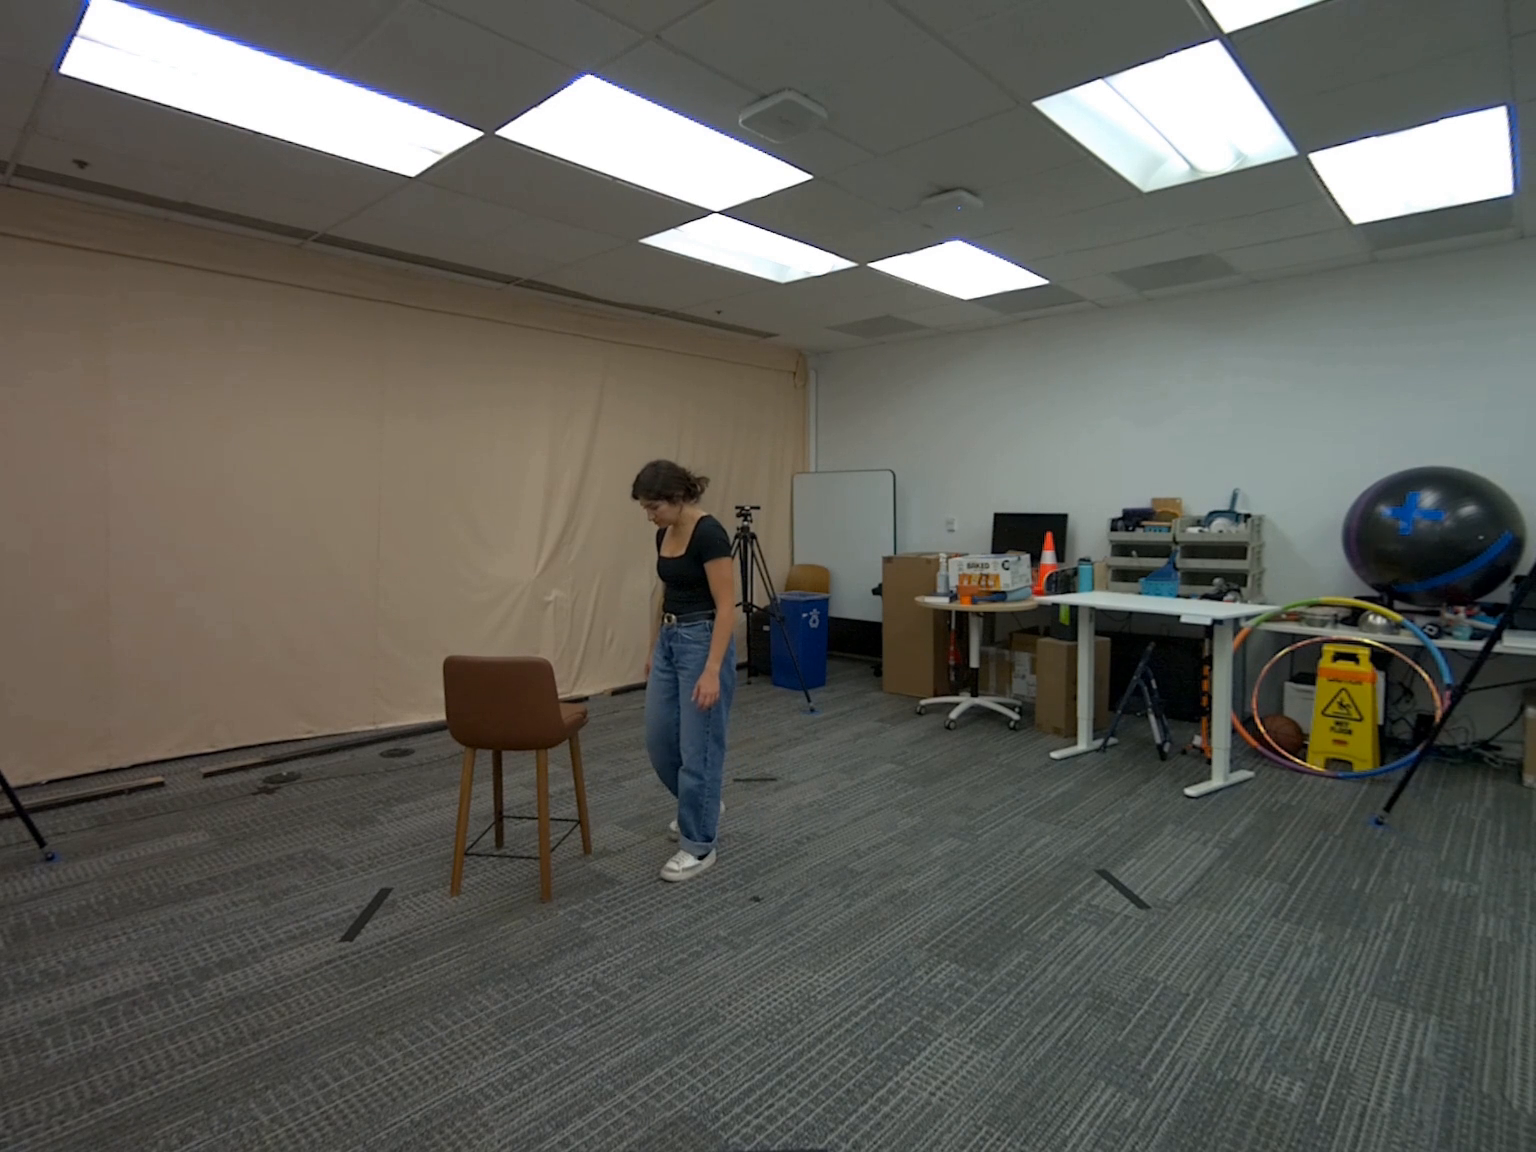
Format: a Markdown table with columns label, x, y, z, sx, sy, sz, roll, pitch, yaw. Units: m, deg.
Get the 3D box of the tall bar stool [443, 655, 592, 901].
| label | x | y | z | sx | sy | sz | roll | pitch | yaw |
| --- | --- | --- | --- | --- | --- | --- | --- | --- | --- |
| tall bar stool | -0.943 | 0.702 | 3.194 | 0.461 | 0.887 | 0.464 | 0 | 4 | 8 |
